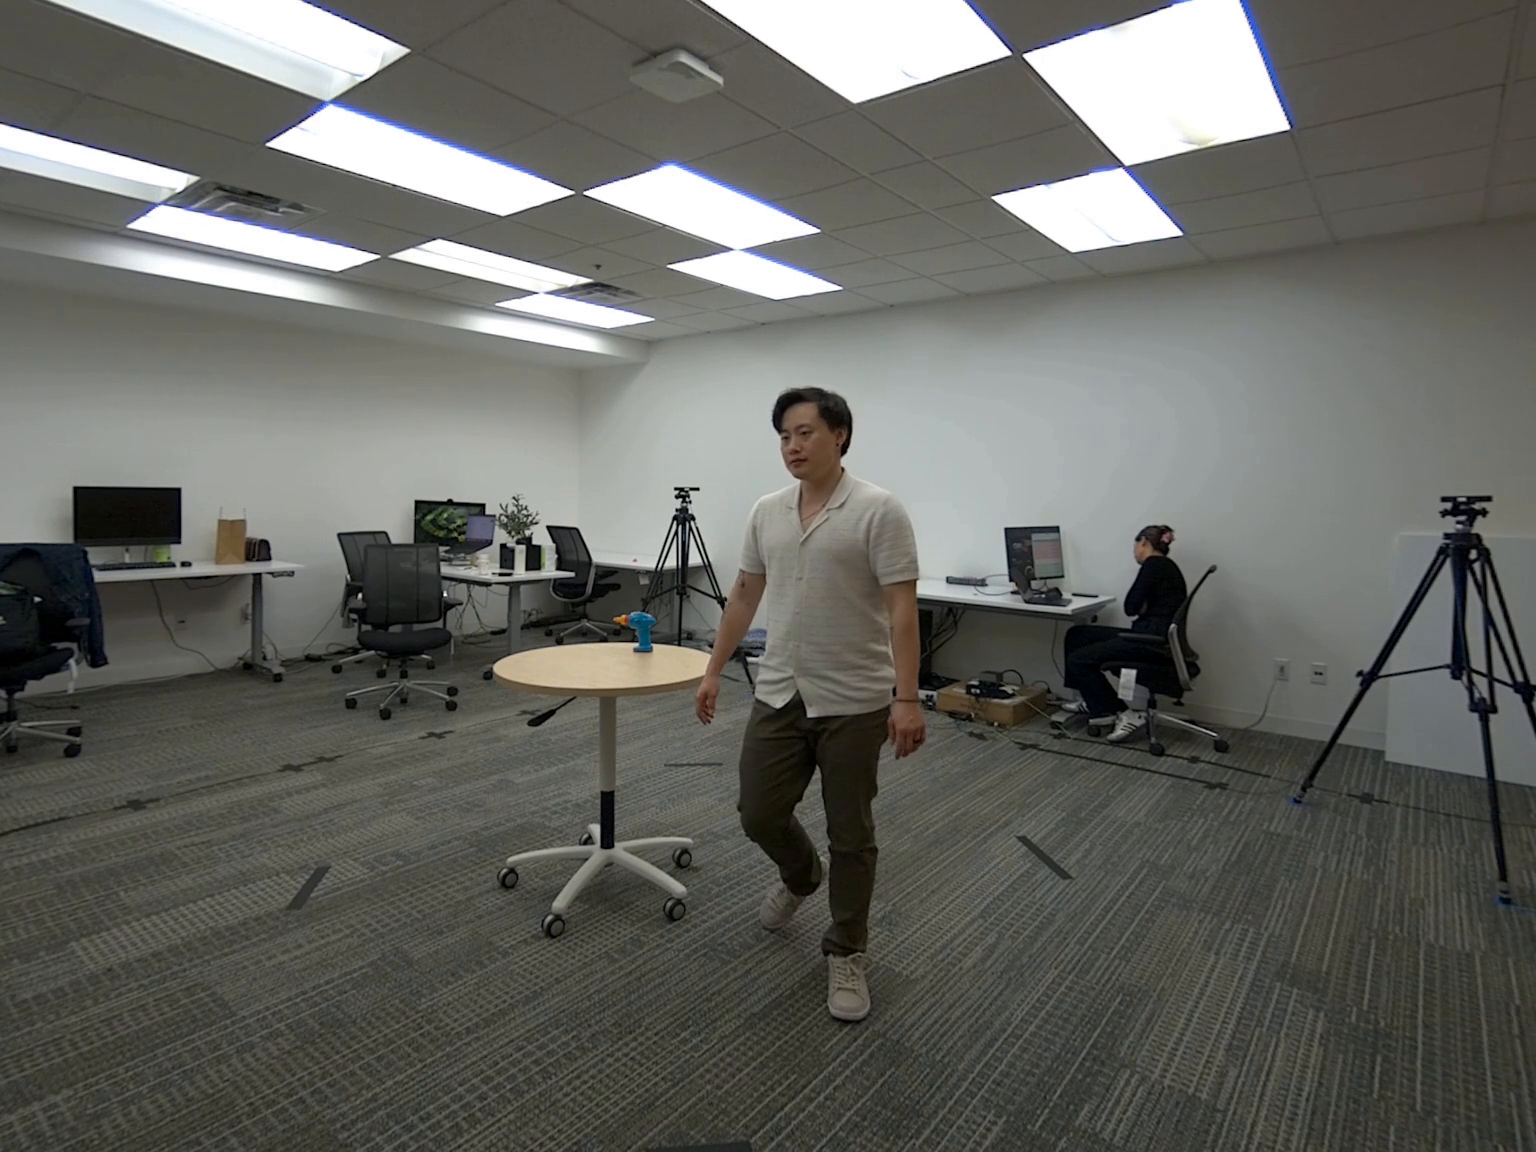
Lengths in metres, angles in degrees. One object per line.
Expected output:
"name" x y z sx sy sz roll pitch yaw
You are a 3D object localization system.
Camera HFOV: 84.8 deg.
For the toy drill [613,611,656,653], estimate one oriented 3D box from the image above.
"toy drill" -0.510 0.201 3.134 0.172 0.146 0.060 0 3 12
